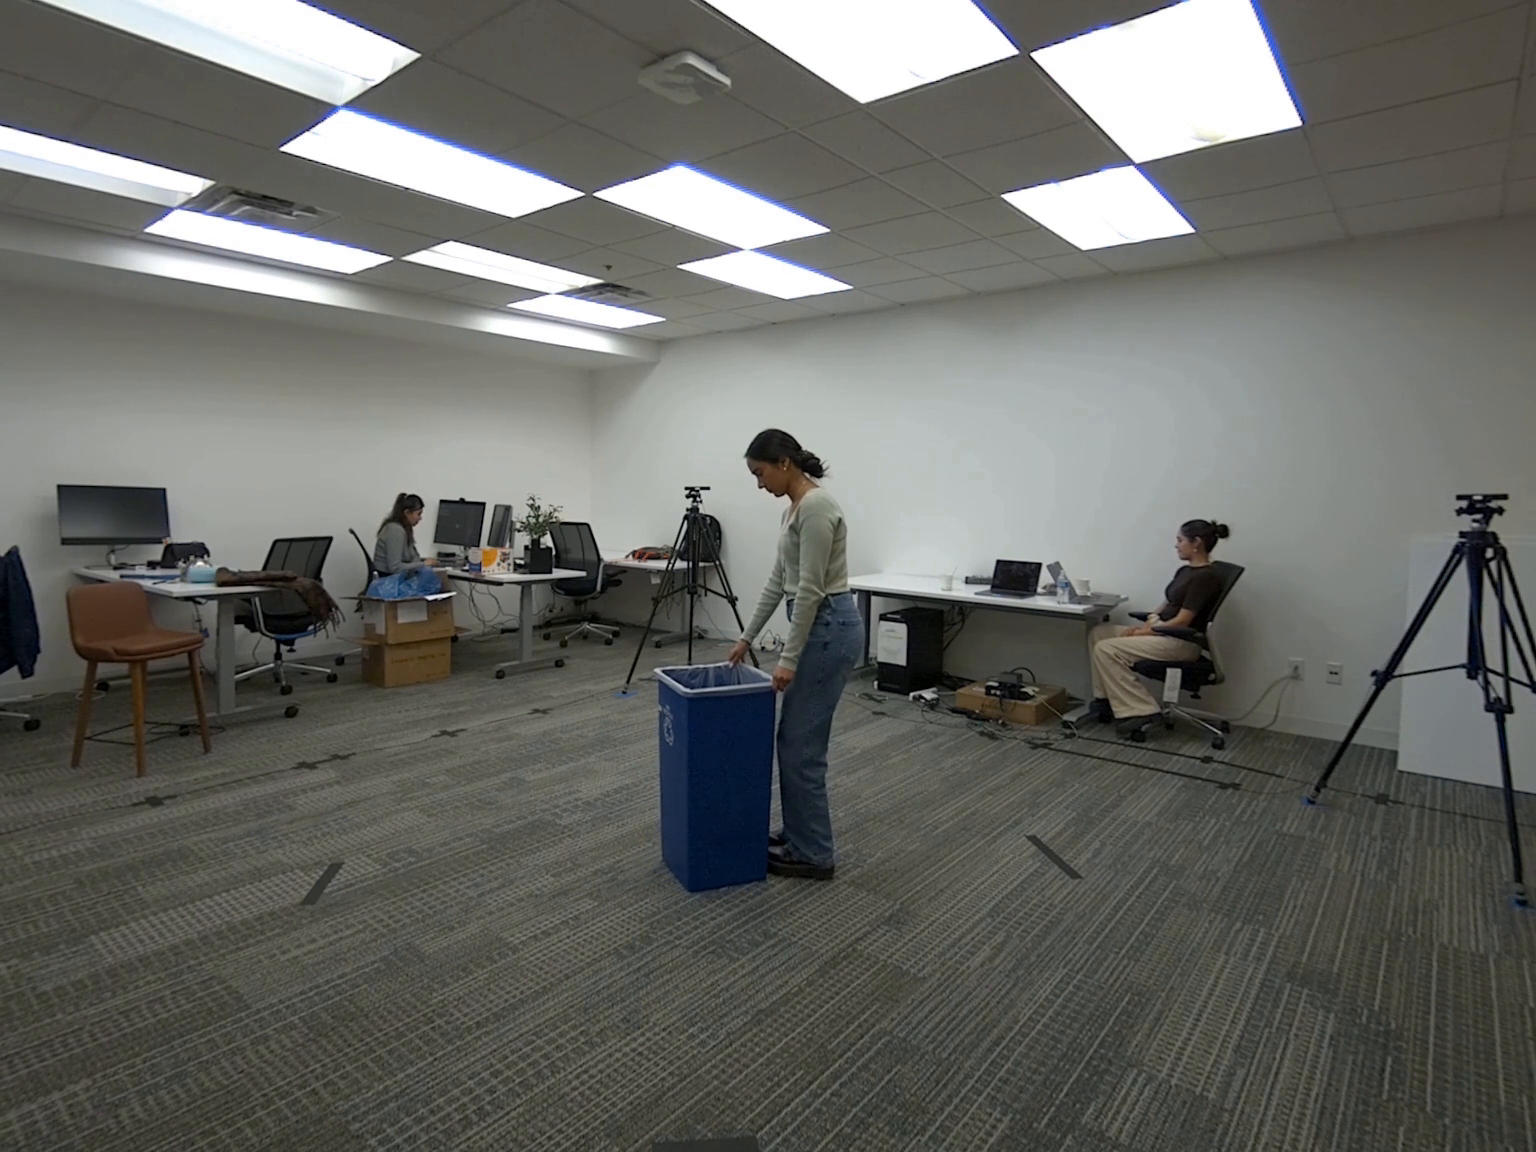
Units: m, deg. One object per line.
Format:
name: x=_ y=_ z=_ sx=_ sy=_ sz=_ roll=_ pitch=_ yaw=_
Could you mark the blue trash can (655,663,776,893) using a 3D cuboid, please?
blue trash can: x=-0.201 y=0.708 z=3.079 sx=0.369 sy=0.711 sz=0.384 roll=-1 pitch=3 yaw=-24
